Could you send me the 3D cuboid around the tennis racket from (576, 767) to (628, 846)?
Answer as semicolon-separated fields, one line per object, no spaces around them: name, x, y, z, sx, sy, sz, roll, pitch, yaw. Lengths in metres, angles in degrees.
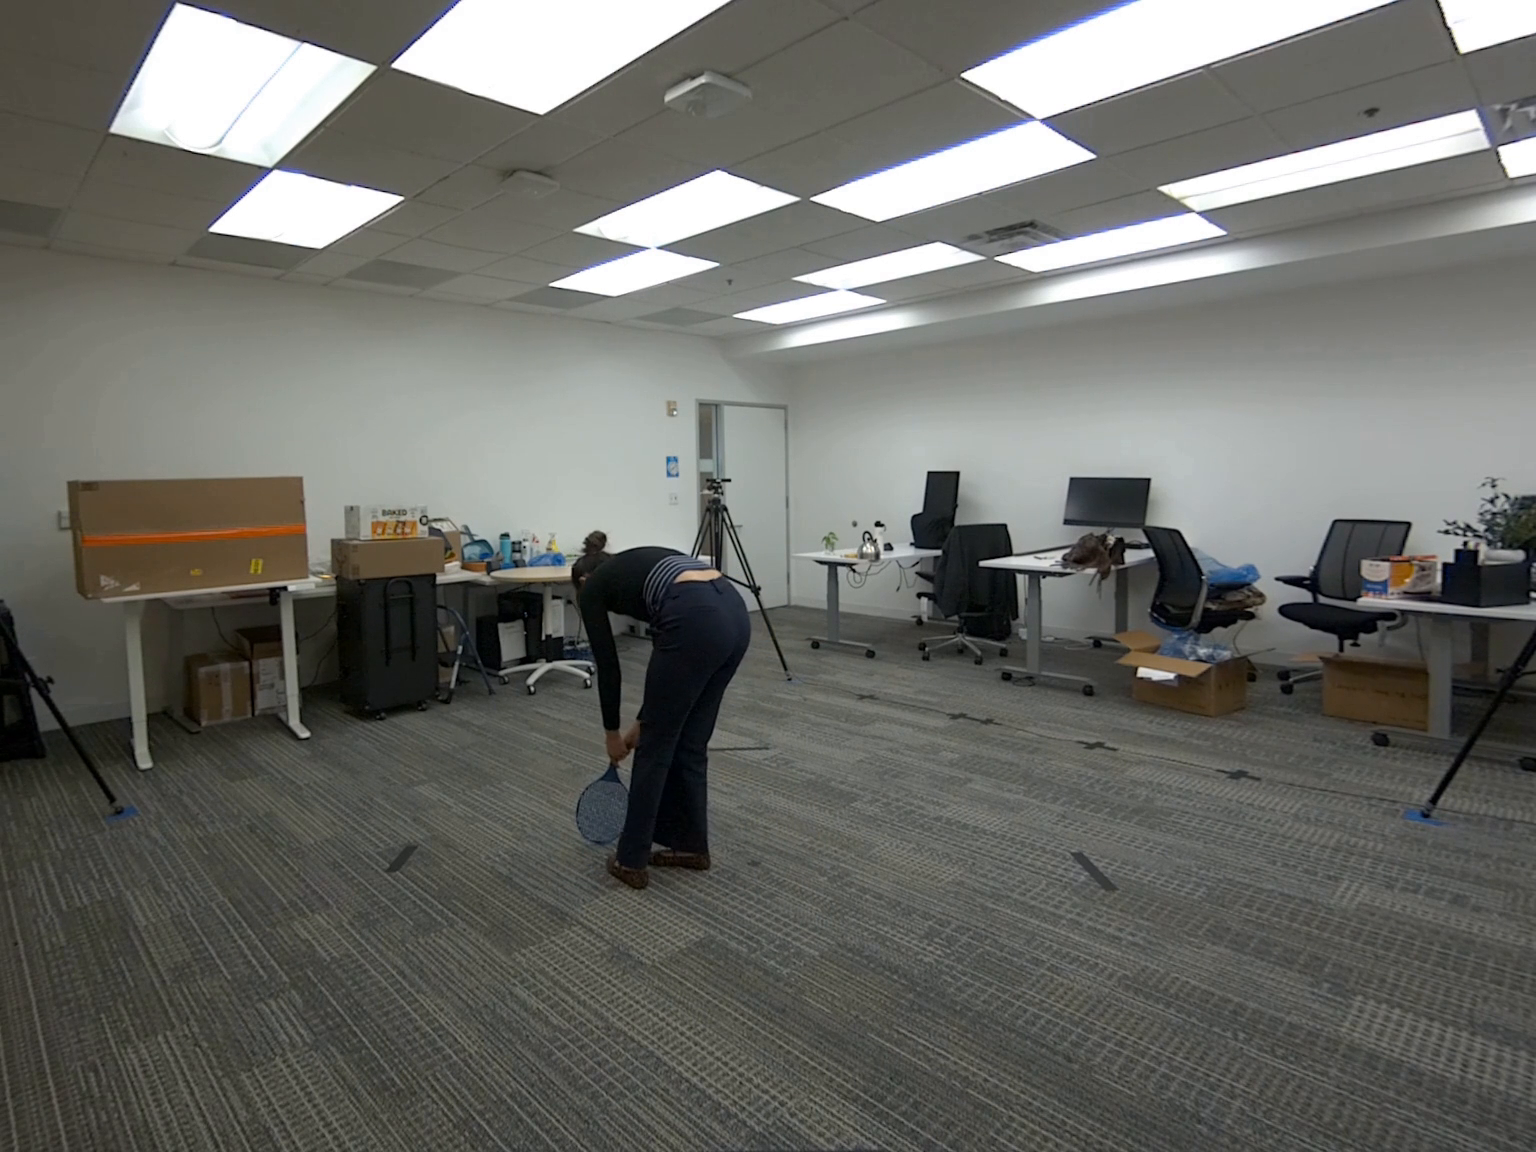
tennis racket;-0.606;0.822;3.270;0.212;0.431;0.032;13;7;-5
